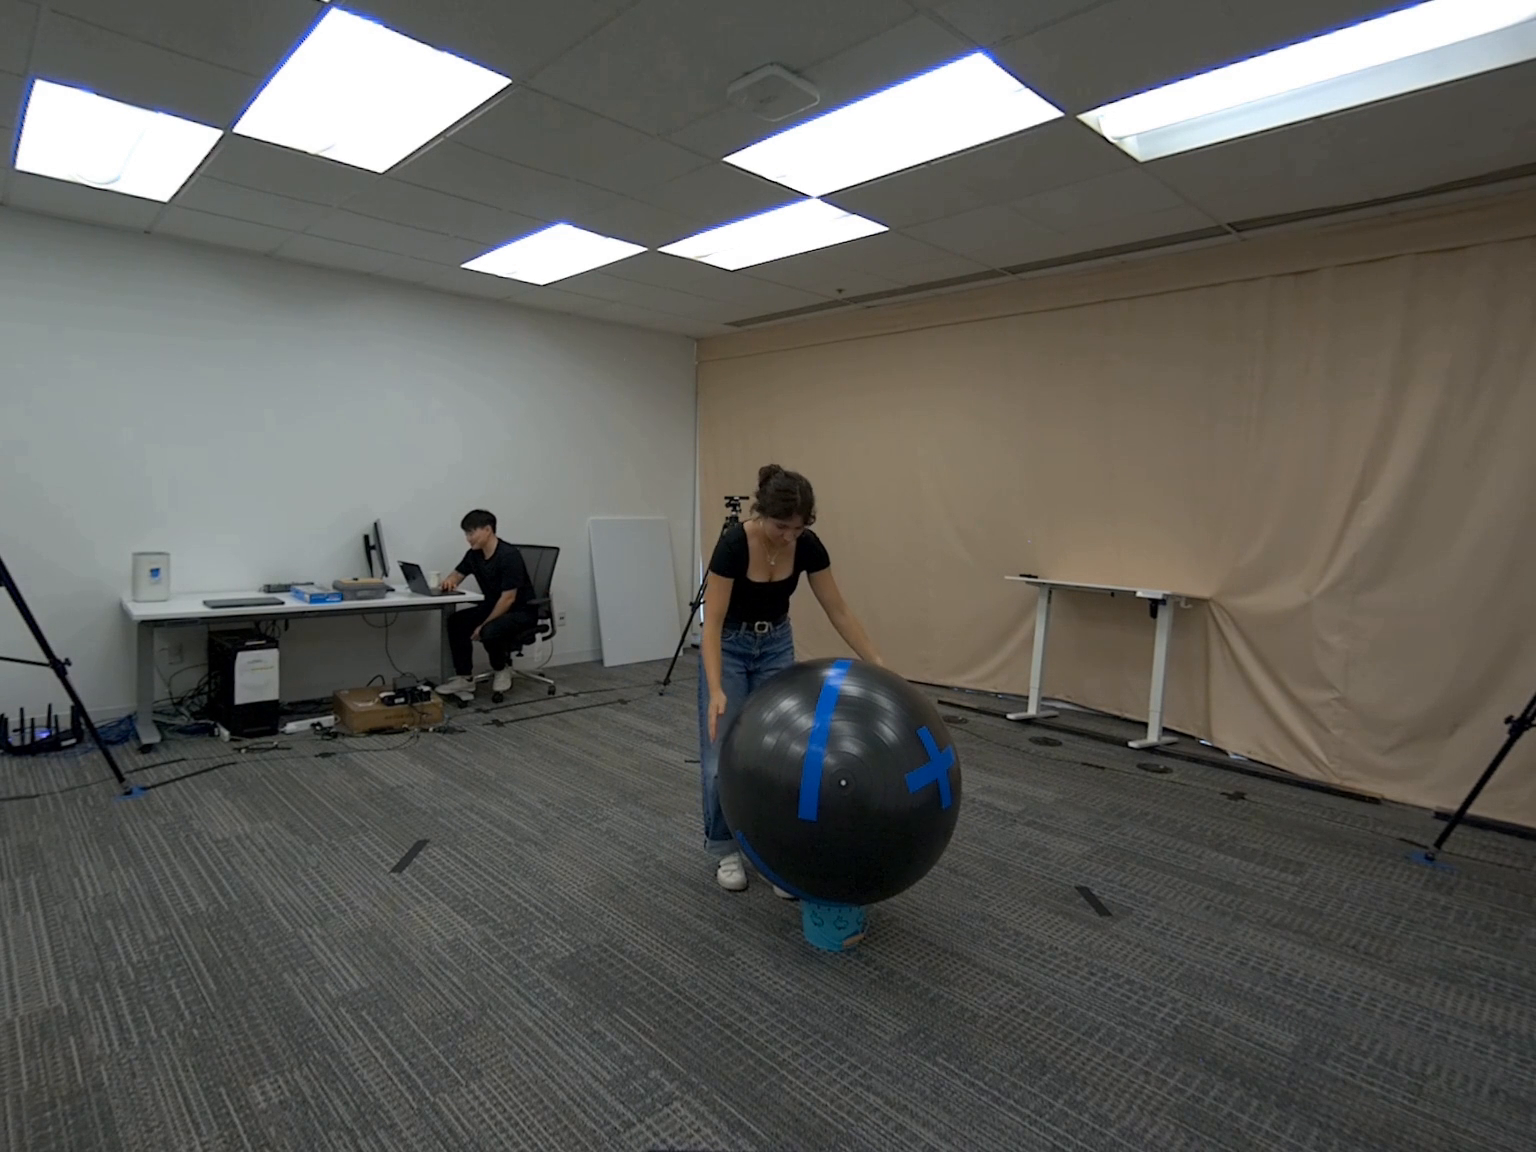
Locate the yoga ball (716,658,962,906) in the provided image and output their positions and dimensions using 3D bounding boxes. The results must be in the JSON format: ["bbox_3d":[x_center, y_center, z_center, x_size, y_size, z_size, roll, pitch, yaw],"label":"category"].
[{"bbox_3d":[0.220,0.645,2.659,0.757,0.756,0.761,1,4,-1],"label":"yoga ball"}]
